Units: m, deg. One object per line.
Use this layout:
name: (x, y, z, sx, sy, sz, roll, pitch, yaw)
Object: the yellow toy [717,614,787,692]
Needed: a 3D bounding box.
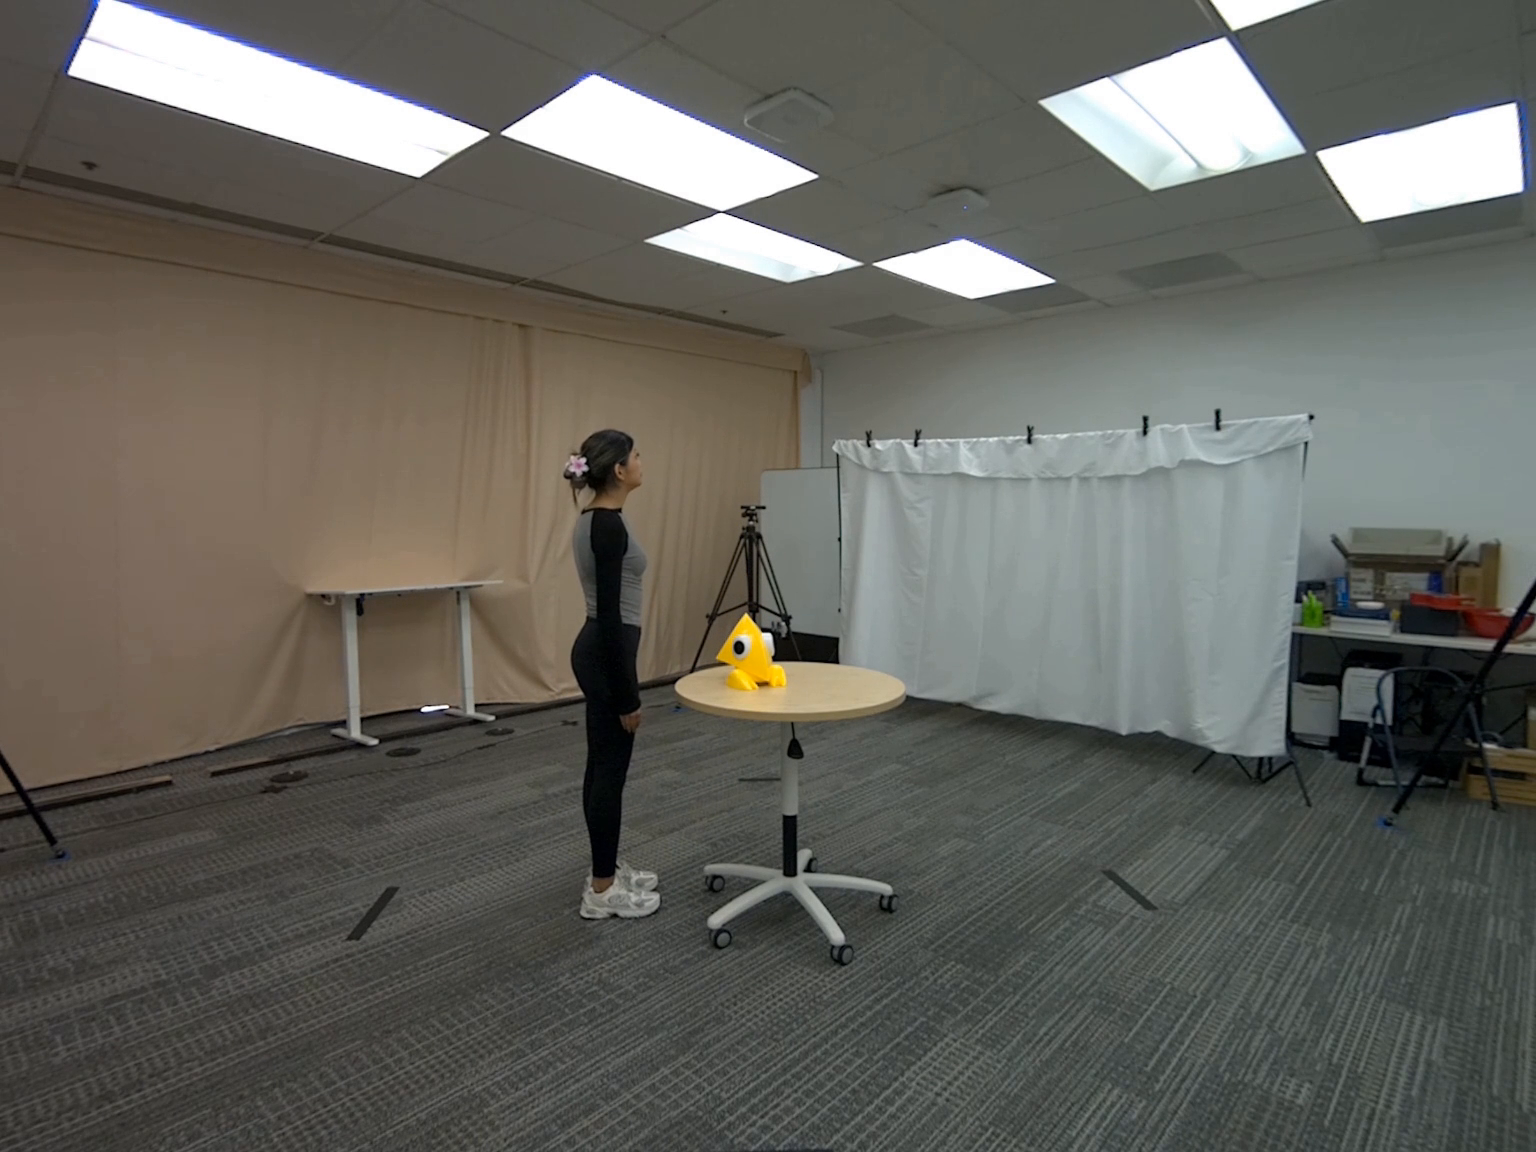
yellow toy: (-0.040, 0.250, 2.832, 0.200, 0.230, 0.198, -3, 6, -27)
